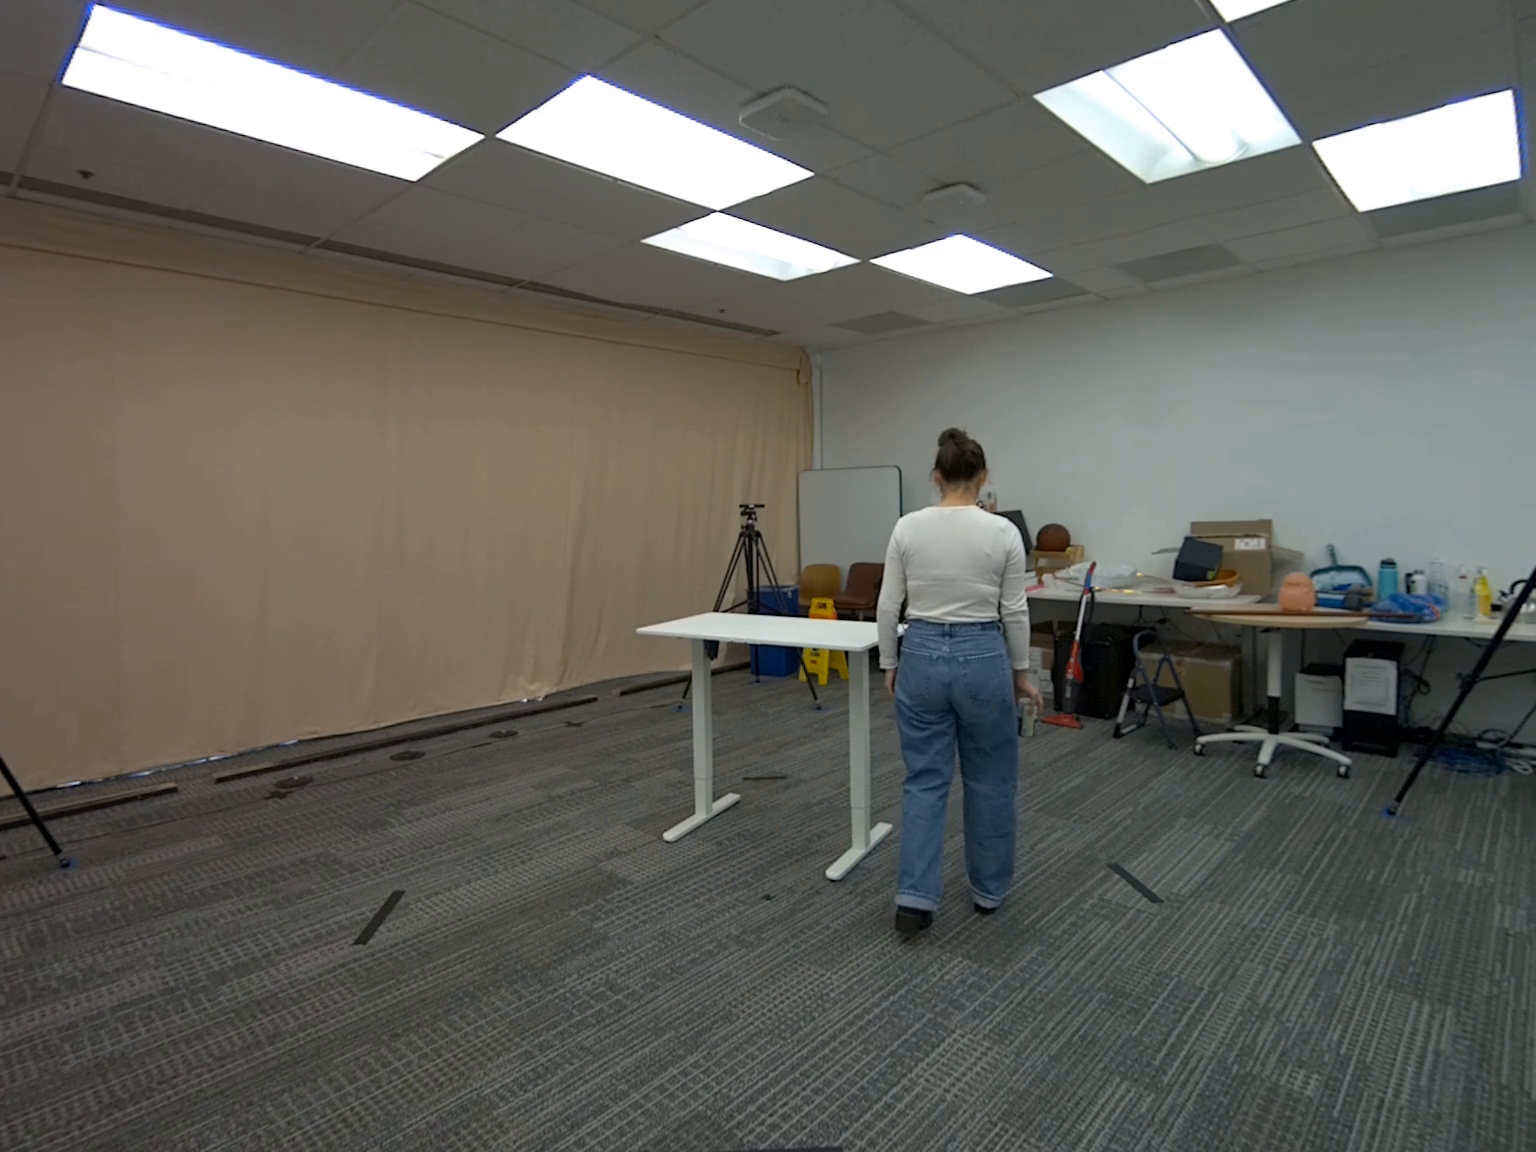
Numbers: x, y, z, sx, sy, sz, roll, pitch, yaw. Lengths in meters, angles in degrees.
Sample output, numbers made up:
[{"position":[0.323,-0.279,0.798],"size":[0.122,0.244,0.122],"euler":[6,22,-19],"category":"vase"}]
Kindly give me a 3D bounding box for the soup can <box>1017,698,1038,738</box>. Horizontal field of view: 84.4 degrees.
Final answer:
[{"position":[0.873,0.486,2.867],"size":[0.067,0.121,0.067],"euler":[3,1,-2],"category":"soup can"}]
